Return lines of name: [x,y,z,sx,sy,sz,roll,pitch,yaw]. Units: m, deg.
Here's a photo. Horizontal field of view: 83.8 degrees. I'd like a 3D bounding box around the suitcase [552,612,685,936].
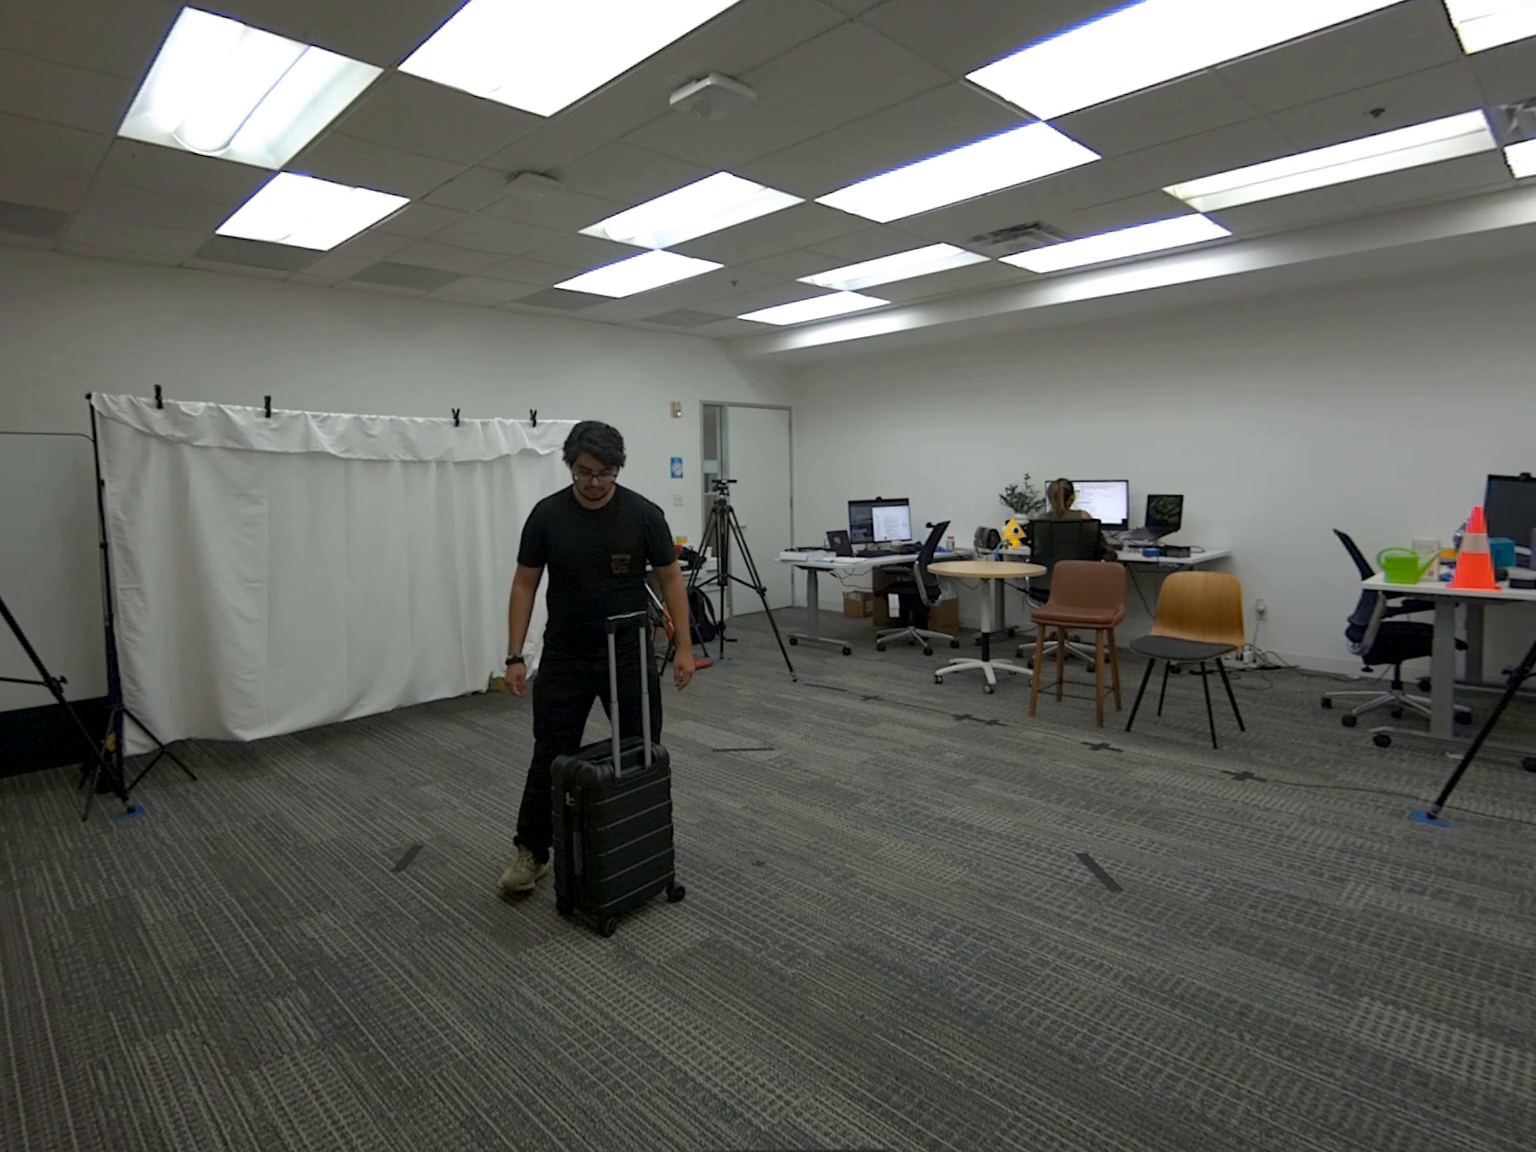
suitcase: [-0.514,0.617,2.769,0.264,0.975,0.374,0,5,40]
